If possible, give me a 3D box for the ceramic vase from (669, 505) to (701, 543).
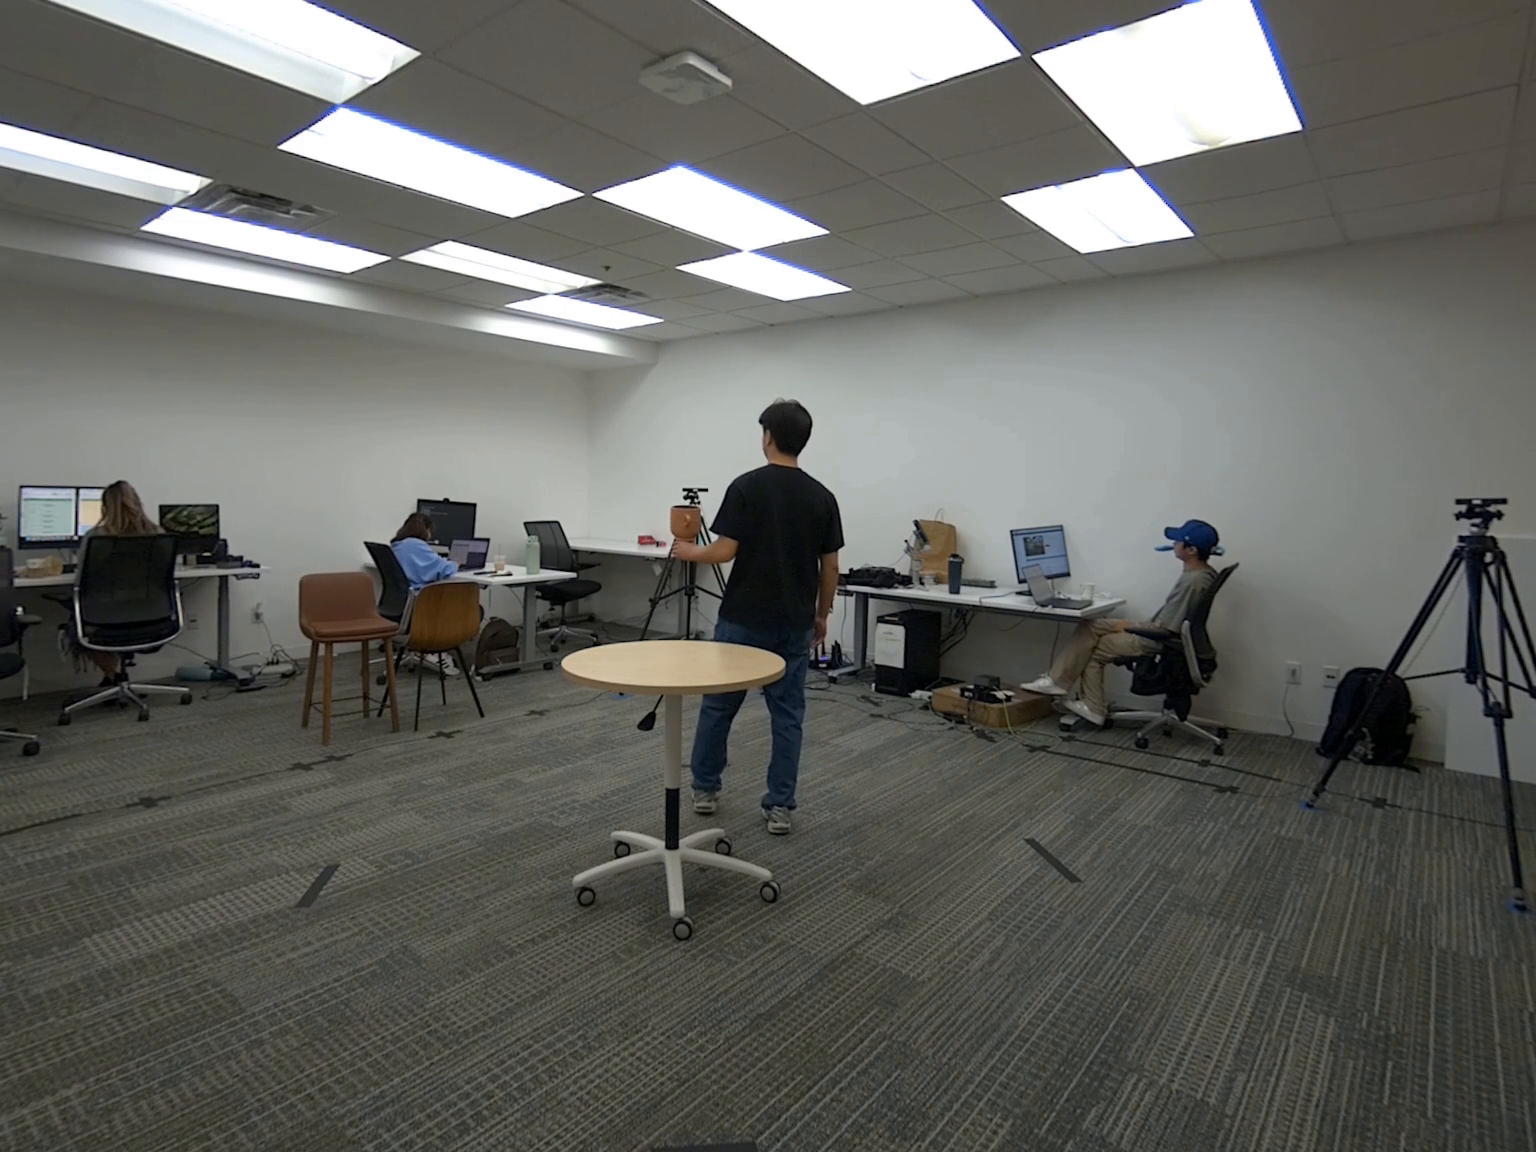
[{"bbox_3d":[-0.375,-0.203,3.759,0.138,0.218,0.156,5,11,26],"label":"ceramic vase"}]
